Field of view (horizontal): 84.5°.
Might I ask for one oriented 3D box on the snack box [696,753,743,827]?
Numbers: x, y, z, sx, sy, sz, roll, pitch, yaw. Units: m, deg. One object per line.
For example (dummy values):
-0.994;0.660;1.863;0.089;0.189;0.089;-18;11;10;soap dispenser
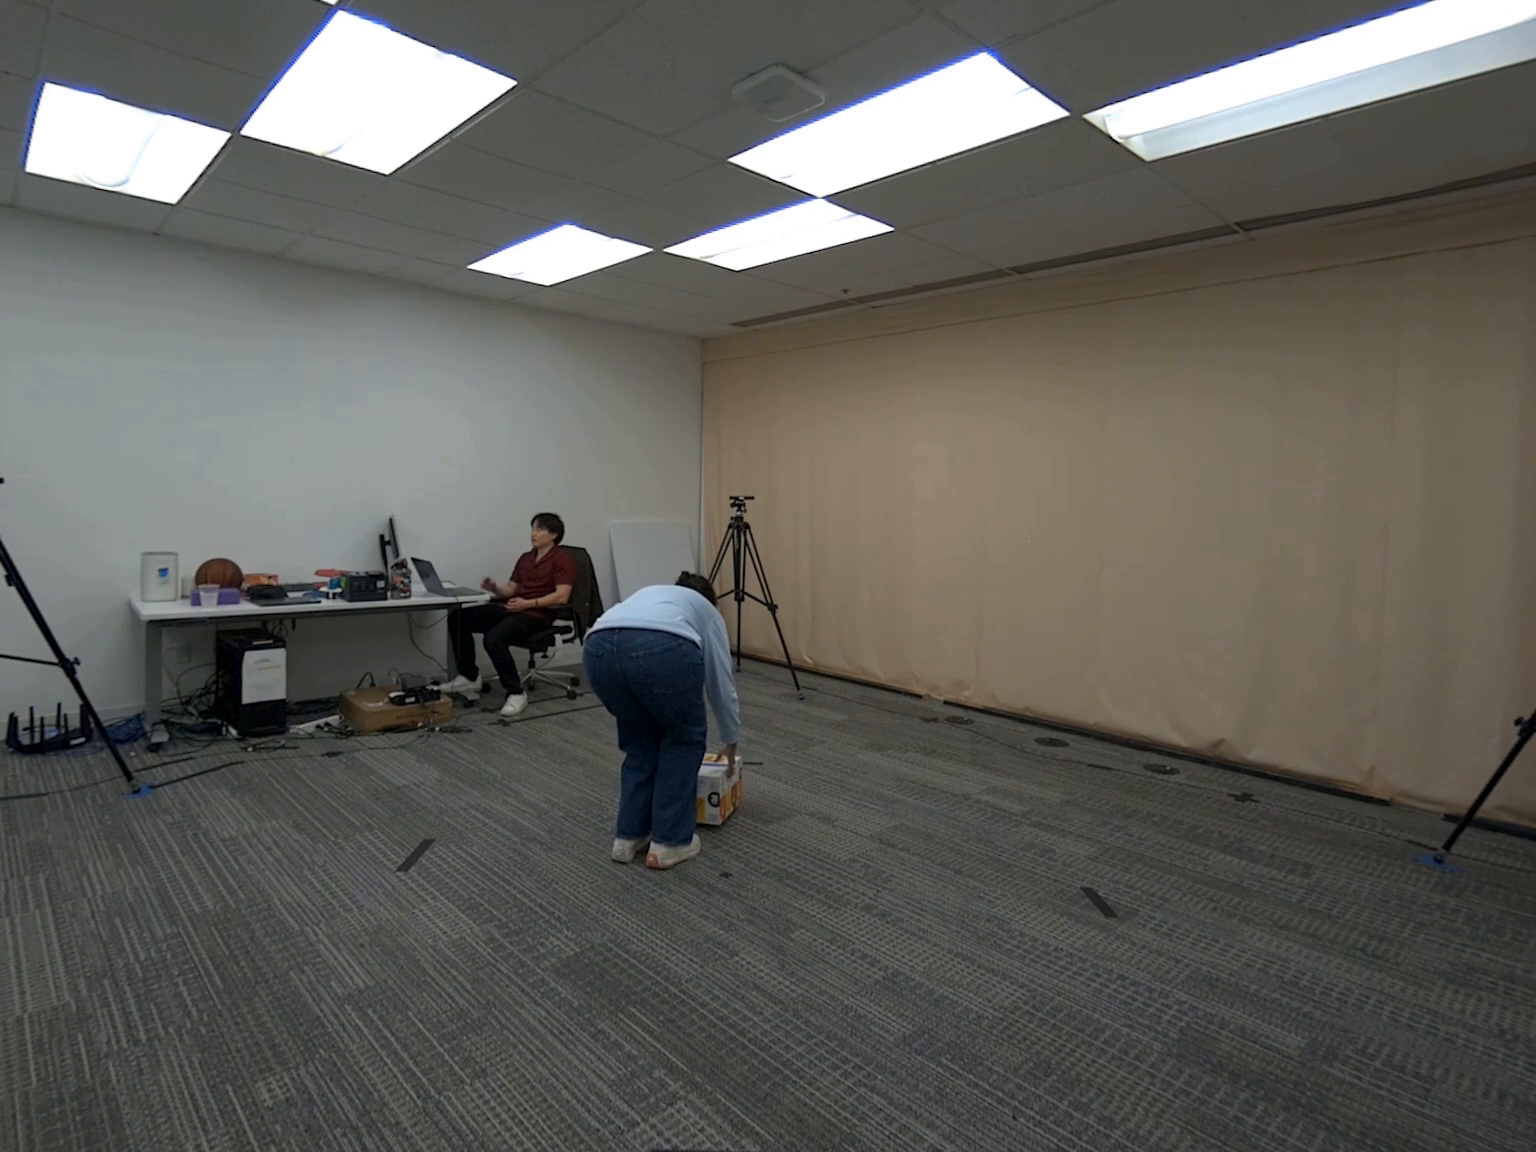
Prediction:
-0.370;0.923;3.701;0.410;0.205;0.336;2;2;16;snack box
